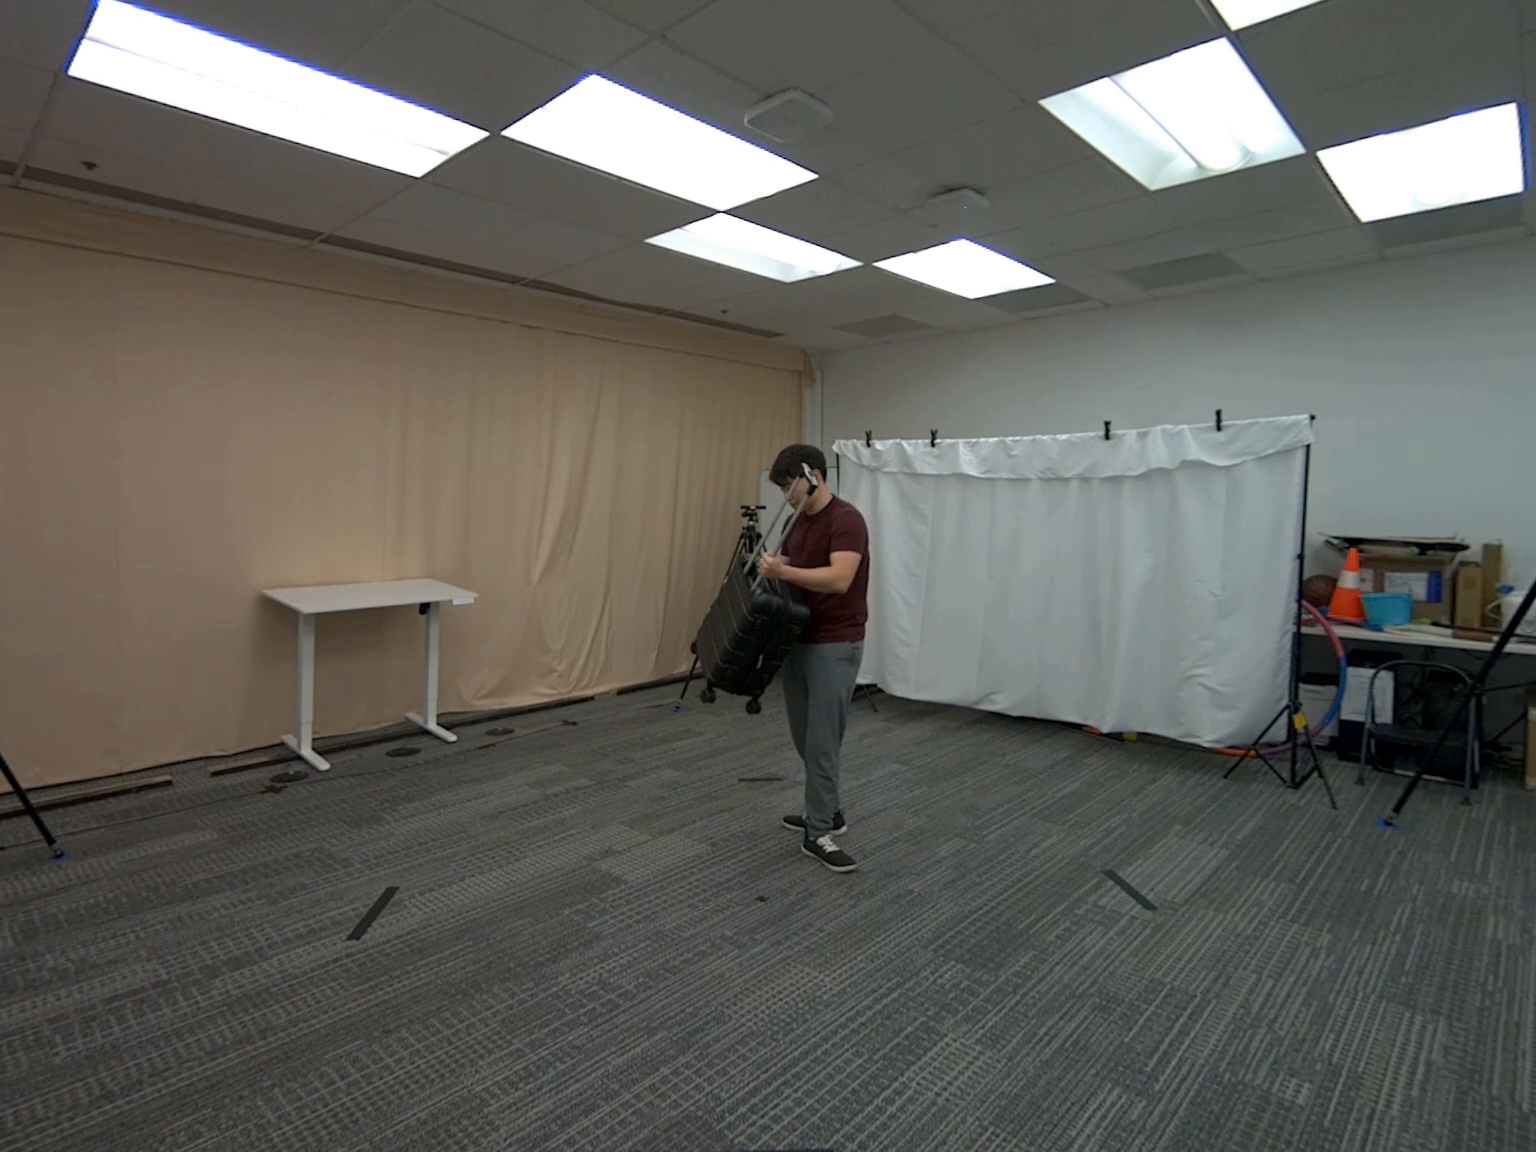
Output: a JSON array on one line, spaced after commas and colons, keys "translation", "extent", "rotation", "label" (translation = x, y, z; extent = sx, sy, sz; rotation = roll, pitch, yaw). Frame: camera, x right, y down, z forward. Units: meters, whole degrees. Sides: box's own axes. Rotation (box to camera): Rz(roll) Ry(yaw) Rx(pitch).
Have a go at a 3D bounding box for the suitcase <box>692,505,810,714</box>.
[{"translation": [0.031, 0.051, 3.269], "extent": [0.251, 0.978, 0.394], "rotation": [17, 30, -23], "label": "suitcase"}]
